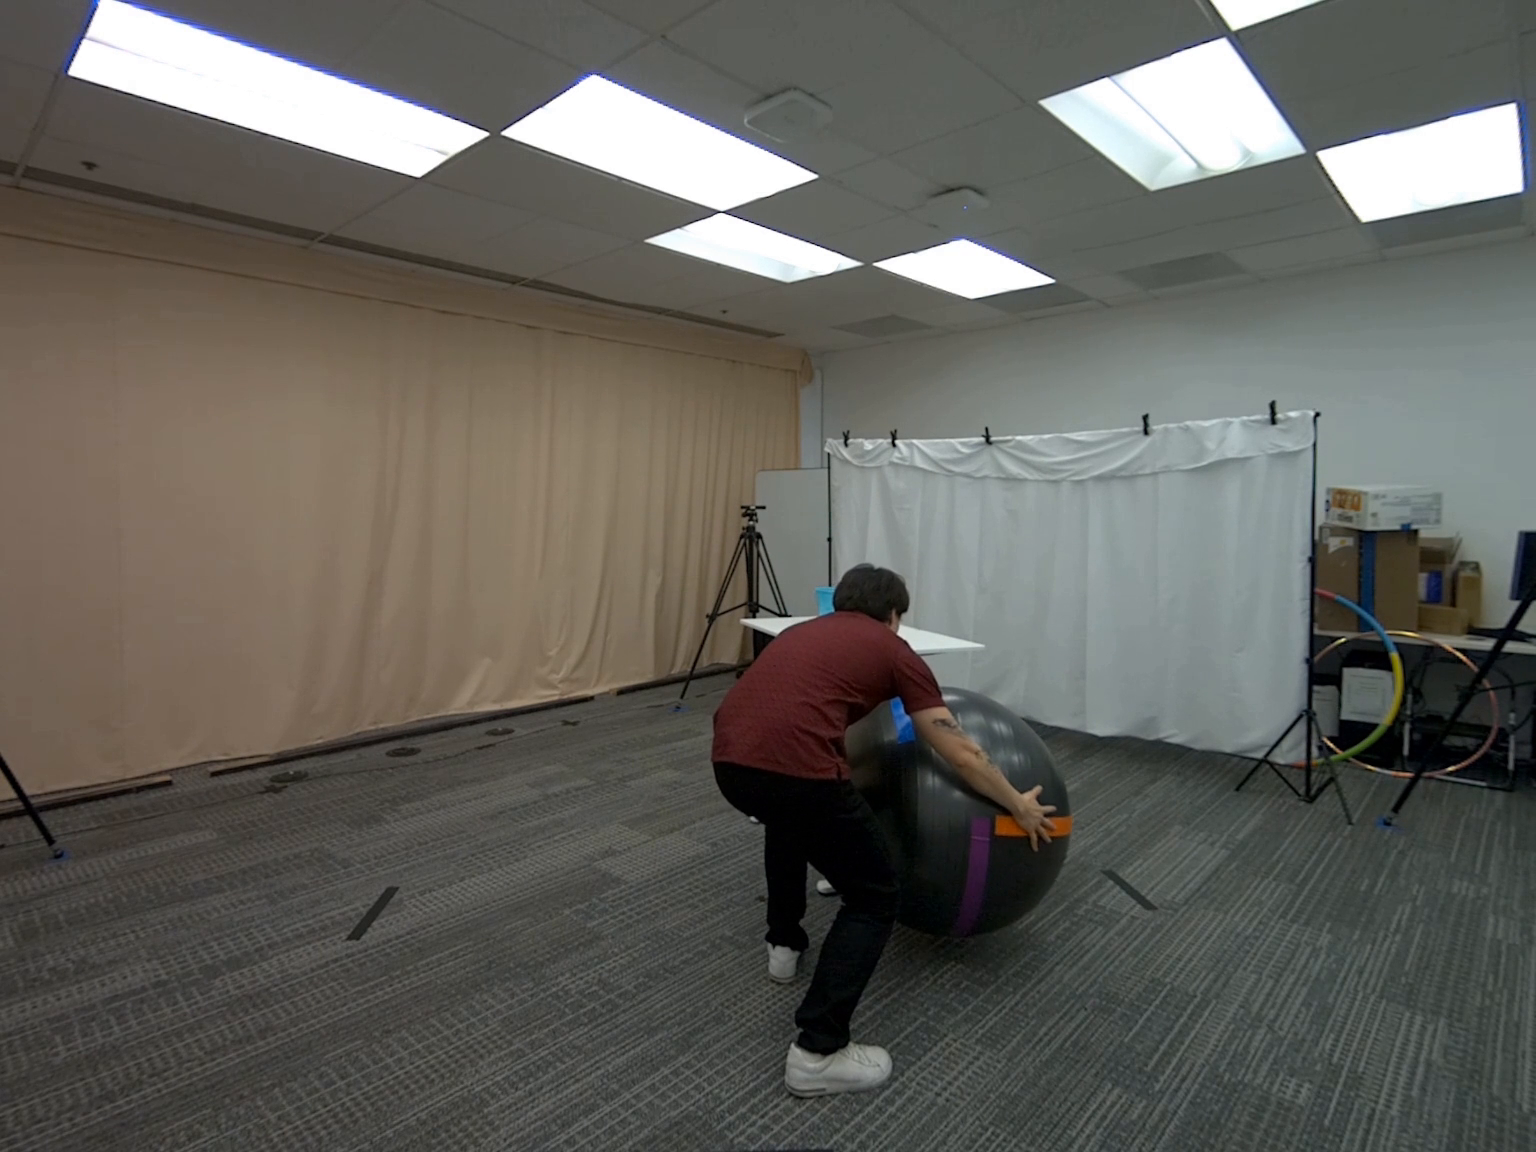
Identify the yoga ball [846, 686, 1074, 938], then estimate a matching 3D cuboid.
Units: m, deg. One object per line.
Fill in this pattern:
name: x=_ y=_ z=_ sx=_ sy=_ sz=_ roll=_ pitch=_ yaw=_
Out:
yoga ball: x=0.561 y=0.742 z=2.692 sx=0.757 sy=0.756 sz=0.760 roll=0 pitch=4 yaw=-2
